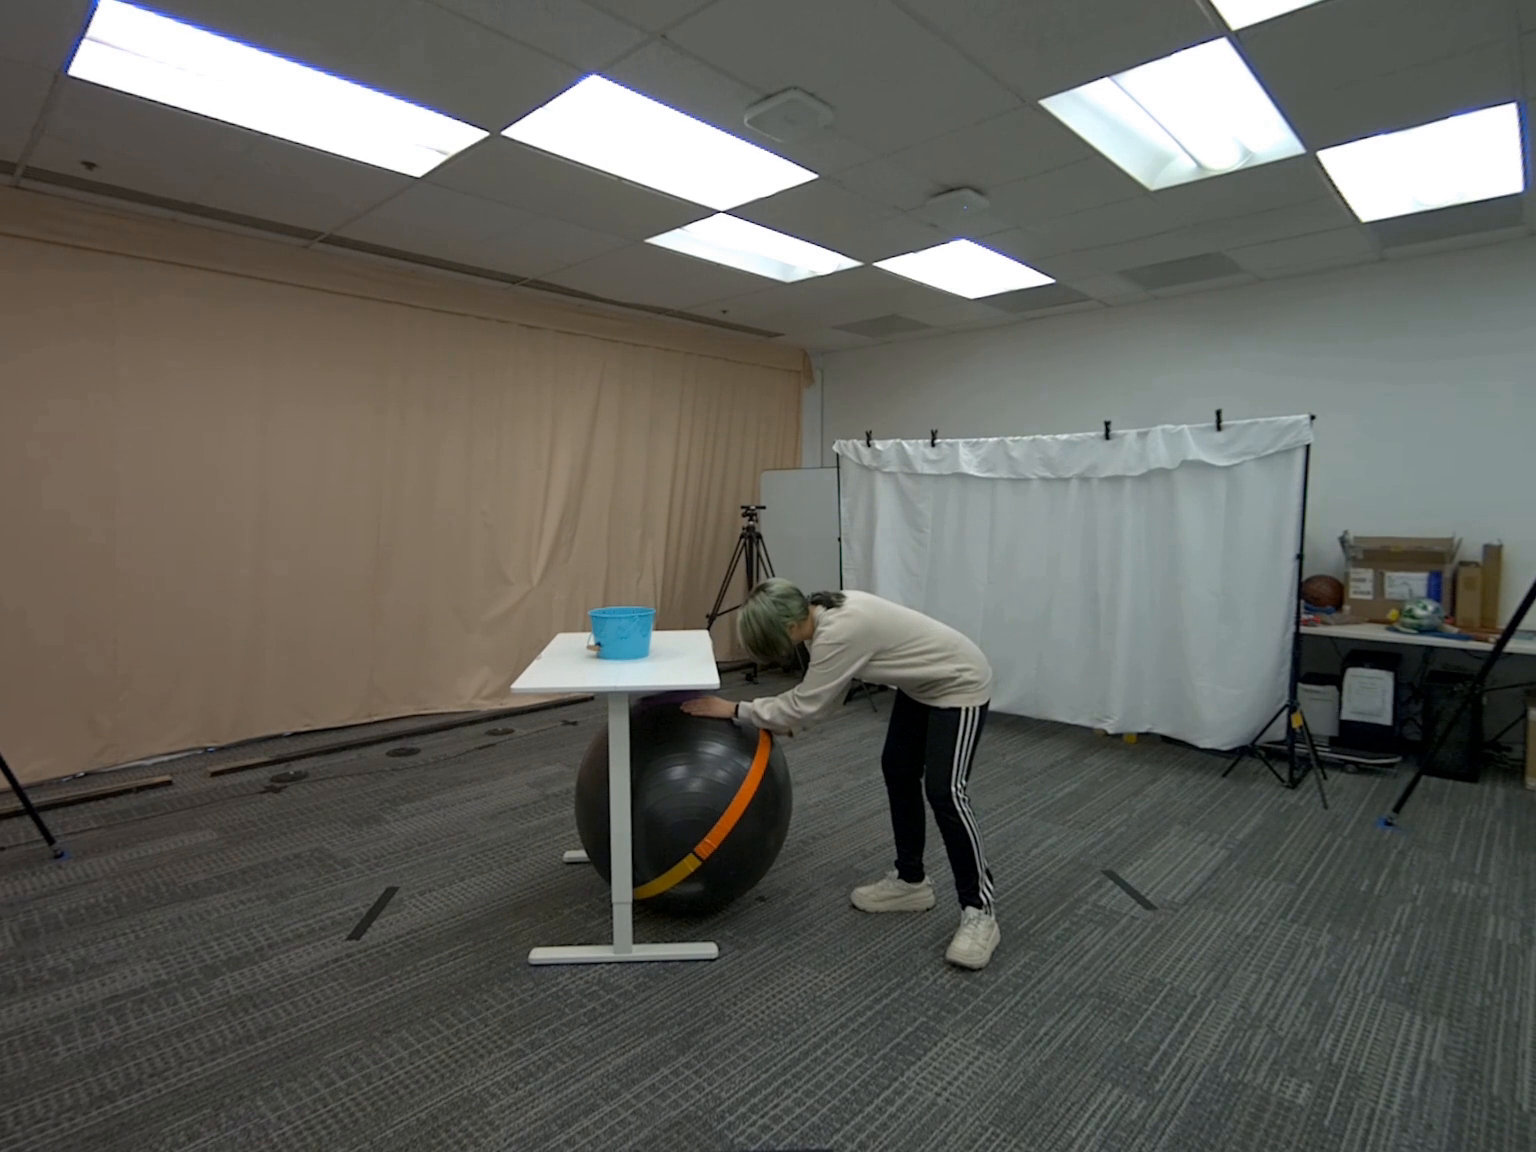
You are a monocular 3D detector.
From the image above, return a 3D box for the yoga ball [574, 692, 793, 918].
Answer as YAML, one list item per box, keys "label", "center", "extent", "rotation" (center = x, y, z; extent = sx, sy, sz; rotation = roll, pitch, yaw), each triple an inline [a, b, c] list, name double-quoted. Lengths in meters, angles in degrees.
- label: "yoga ball"
  center: [-0.292, 0.780, 2.952]
  extent: [0.757, 0.756, 0.760]
  rotation: [0, 4, -2]
